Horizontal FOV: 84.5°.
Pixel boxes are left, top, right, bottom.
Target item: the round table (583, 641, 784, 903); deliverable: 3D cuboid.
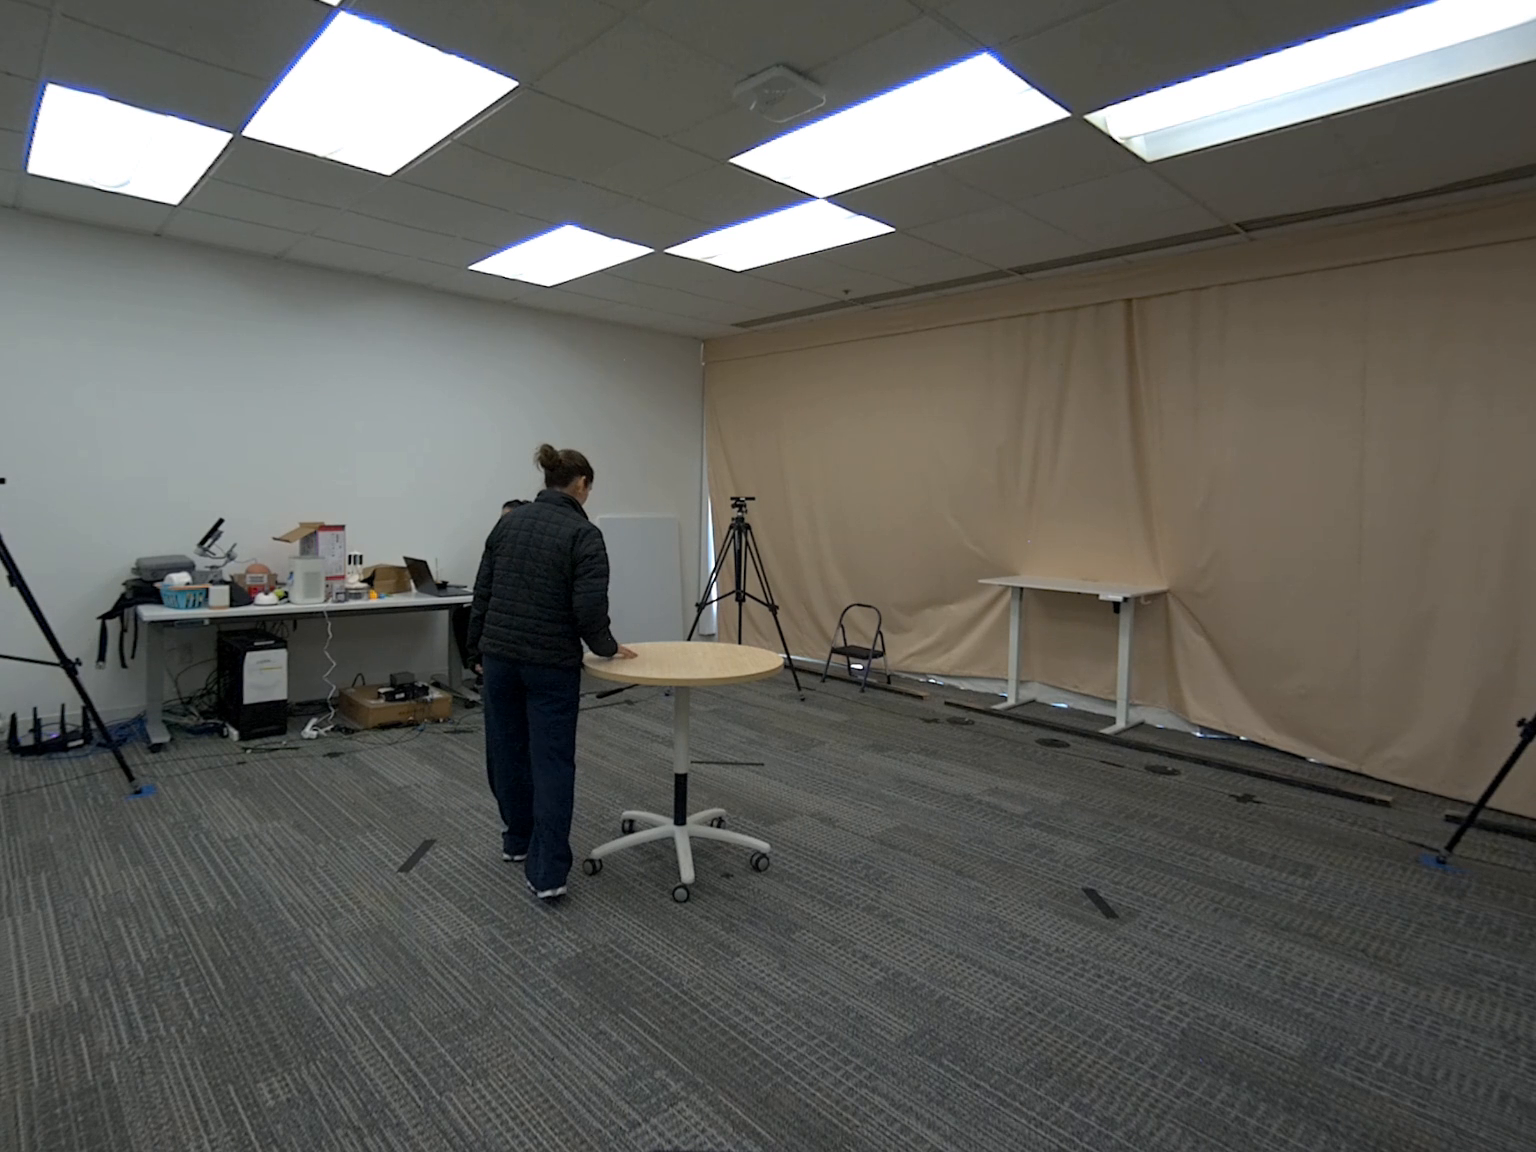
[{"bbox_3d":[-0.326,0.702,3.210,0.784,0.784,0.787,1,4,-1],"label":"round table"}]
